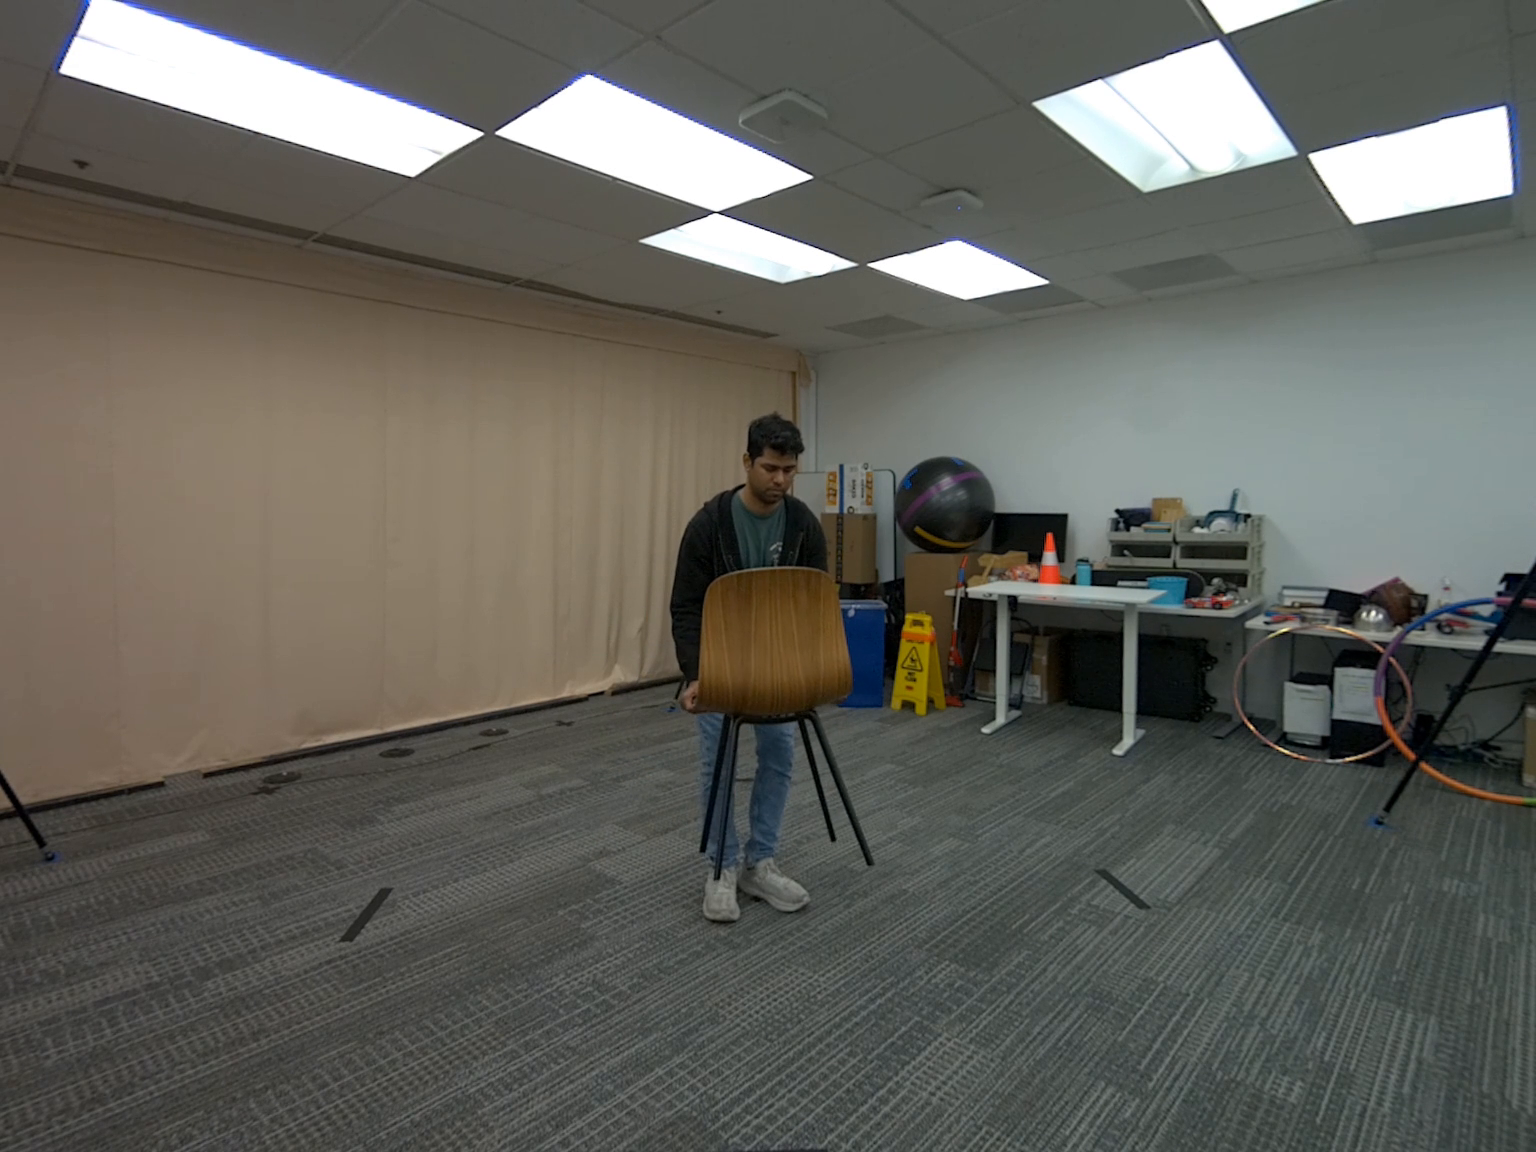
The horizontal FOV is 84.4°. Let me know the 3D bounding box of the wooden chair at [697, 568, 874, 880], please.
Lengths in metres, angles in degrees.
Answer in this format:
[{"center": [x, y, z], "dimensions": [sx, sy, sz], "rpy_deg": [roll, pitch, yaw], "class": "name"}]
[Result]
[{"center": [0.003, 0.436, 2.611], "dimensions": [0.474, 0.881, 0.525], "rpy_deg": [-4, -6, -9], "class": "wooden chair"}]
